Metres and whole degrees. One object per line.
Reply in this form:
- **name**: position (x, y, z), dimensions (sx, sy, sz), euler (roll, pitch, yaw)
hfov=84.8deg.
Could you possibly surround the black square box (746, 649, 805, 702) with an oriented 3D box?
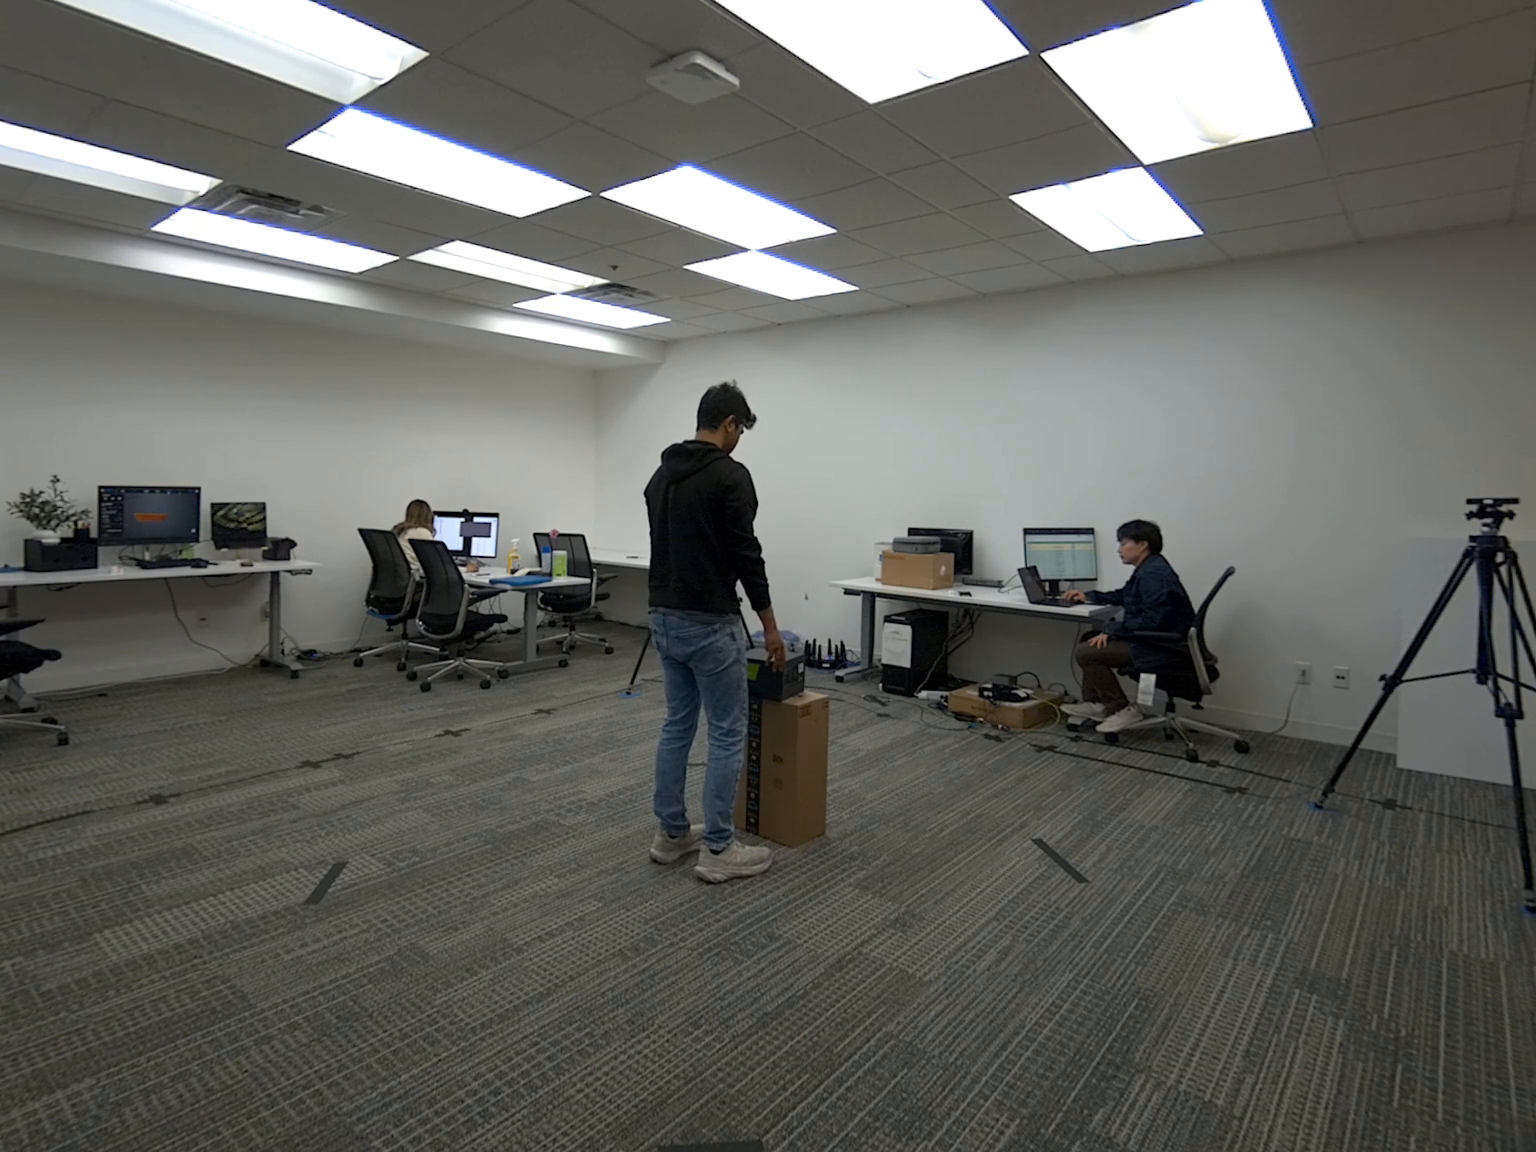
- **black square box**: position (-0.006, 0.390, 3.451), dimensions (0.234, 0.155, 0.212), euler (3, 6, 28)
